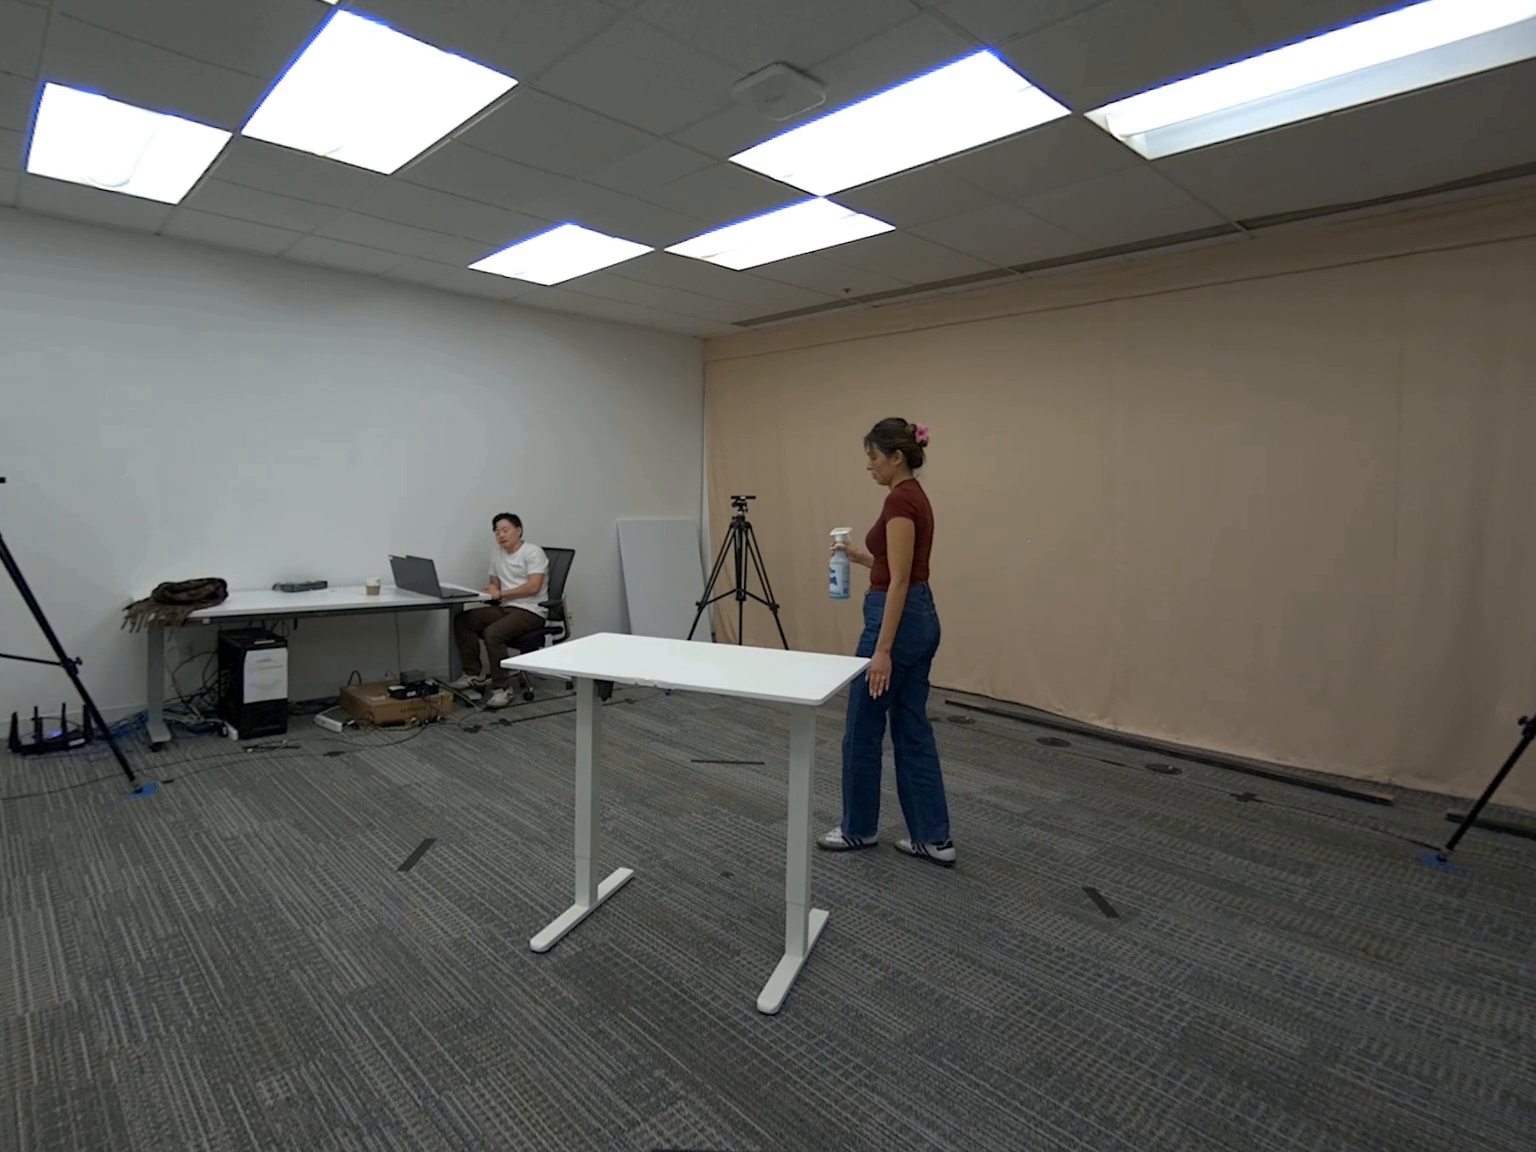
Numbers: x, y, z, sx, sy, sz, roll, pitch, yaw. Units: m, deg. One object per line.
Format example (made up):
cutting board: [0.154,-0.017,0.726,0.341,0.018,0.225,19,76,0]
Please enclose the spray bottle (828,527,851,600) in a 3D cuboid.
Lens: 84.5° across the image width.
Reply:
spray bottle: [0.299,-0.051,3.526,0.092,0.296,0.085,5,6,29]
